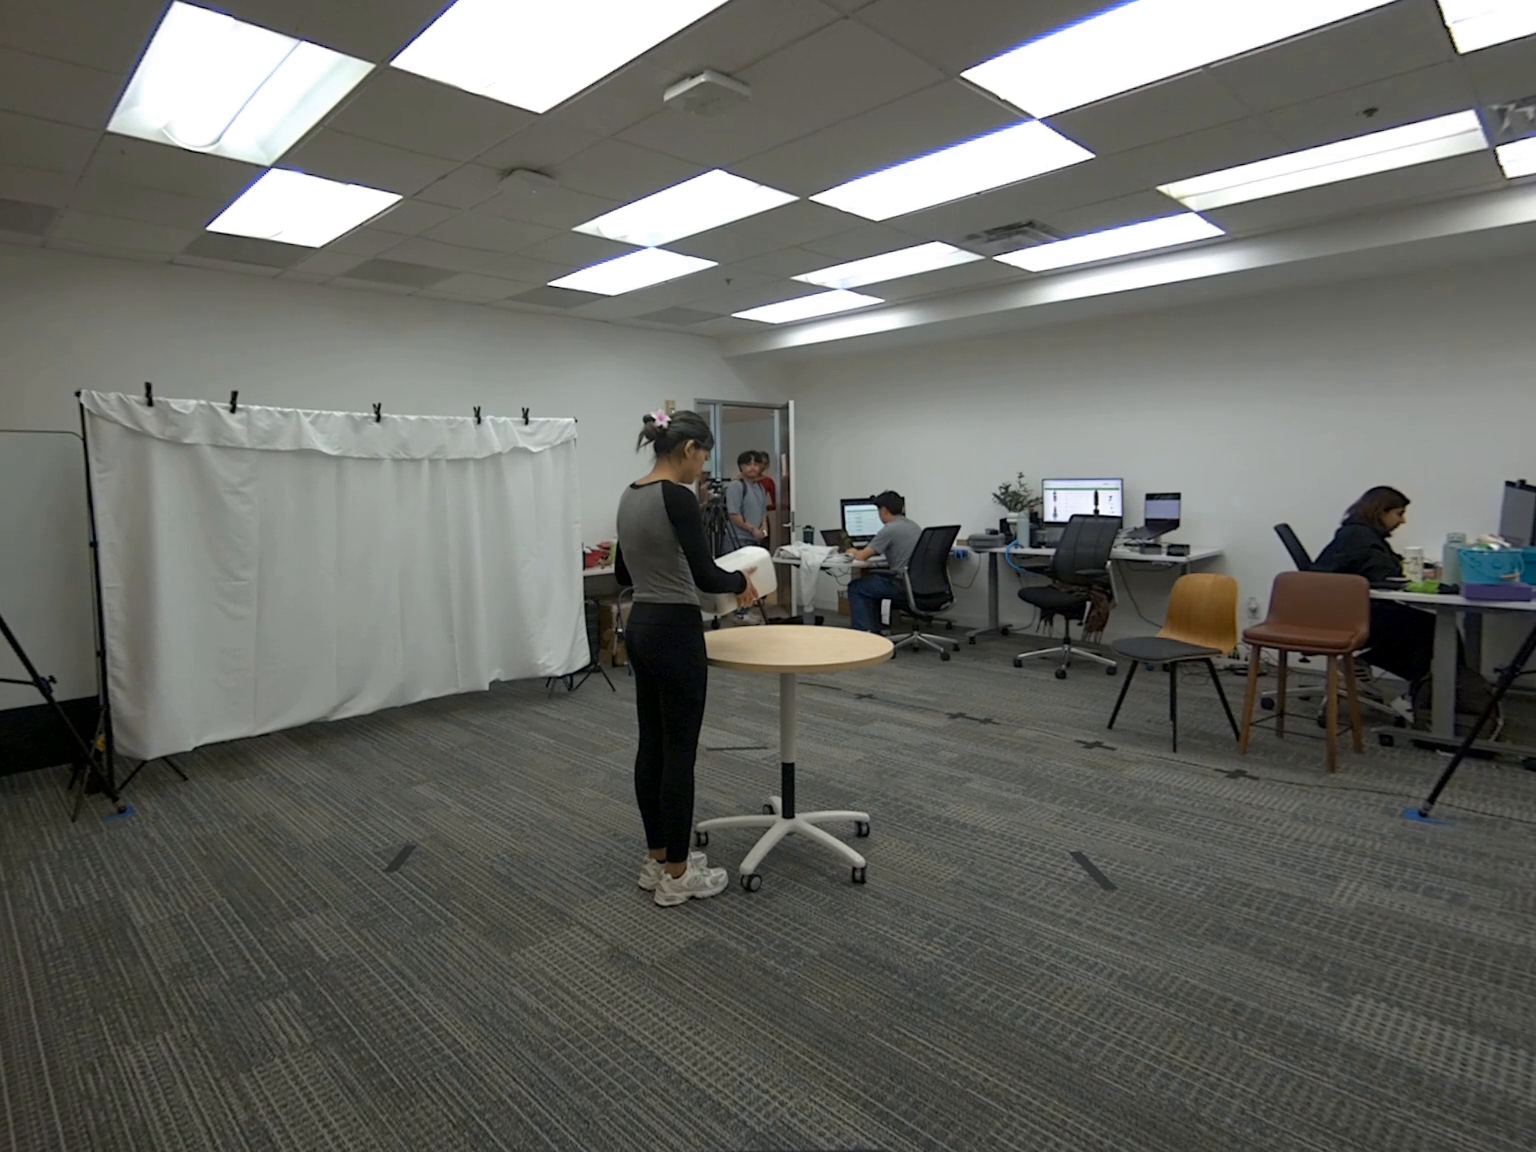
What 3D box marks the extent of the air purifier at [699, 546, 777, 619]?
[{"bbox_3d":[-0.125,0.014,3.030,0.261,0.168,0.177,-22,18,-35],"label":"air purifier"}]
